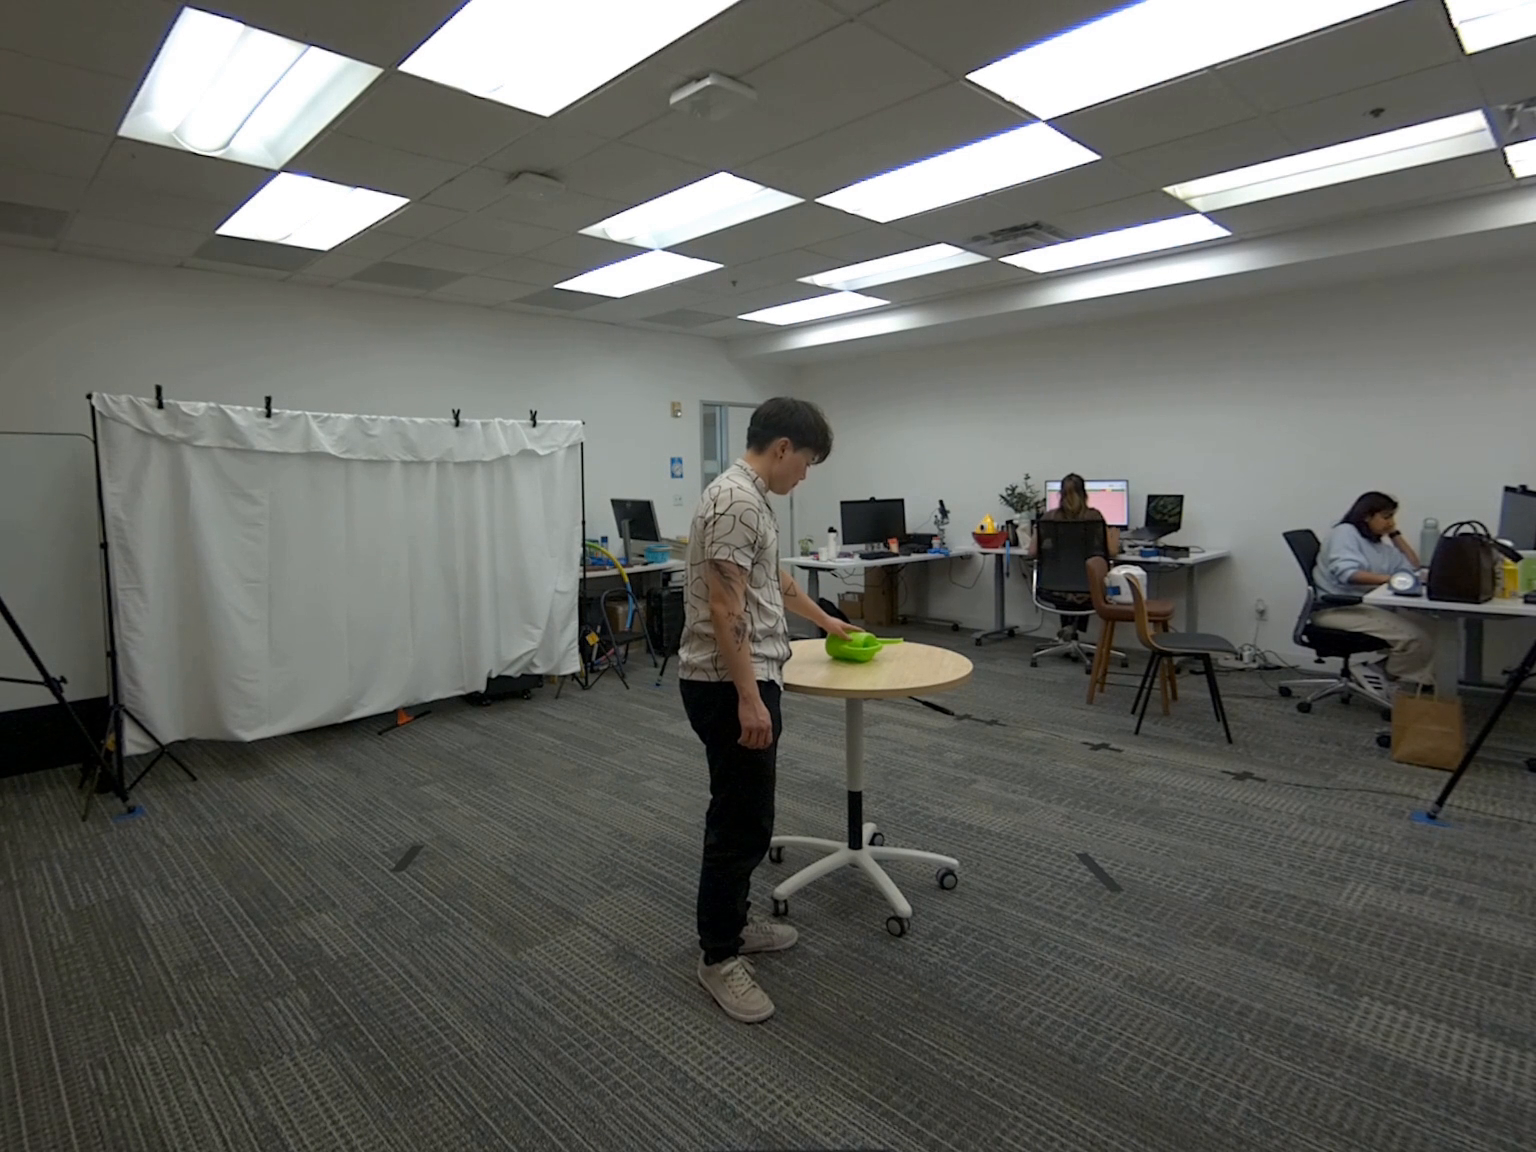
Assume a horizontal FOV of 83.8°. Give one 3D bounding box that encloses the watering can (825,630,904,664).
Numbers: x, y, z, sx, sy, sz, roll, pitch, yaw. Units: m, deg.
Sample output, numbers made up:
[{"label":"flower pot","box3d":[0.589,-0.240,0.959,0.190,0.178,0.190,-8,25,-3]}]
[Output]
[{"label":"watering can","box3d":[0.328,0.244,2.905,0.182,0.098,0.269,4,-5,37]}]
